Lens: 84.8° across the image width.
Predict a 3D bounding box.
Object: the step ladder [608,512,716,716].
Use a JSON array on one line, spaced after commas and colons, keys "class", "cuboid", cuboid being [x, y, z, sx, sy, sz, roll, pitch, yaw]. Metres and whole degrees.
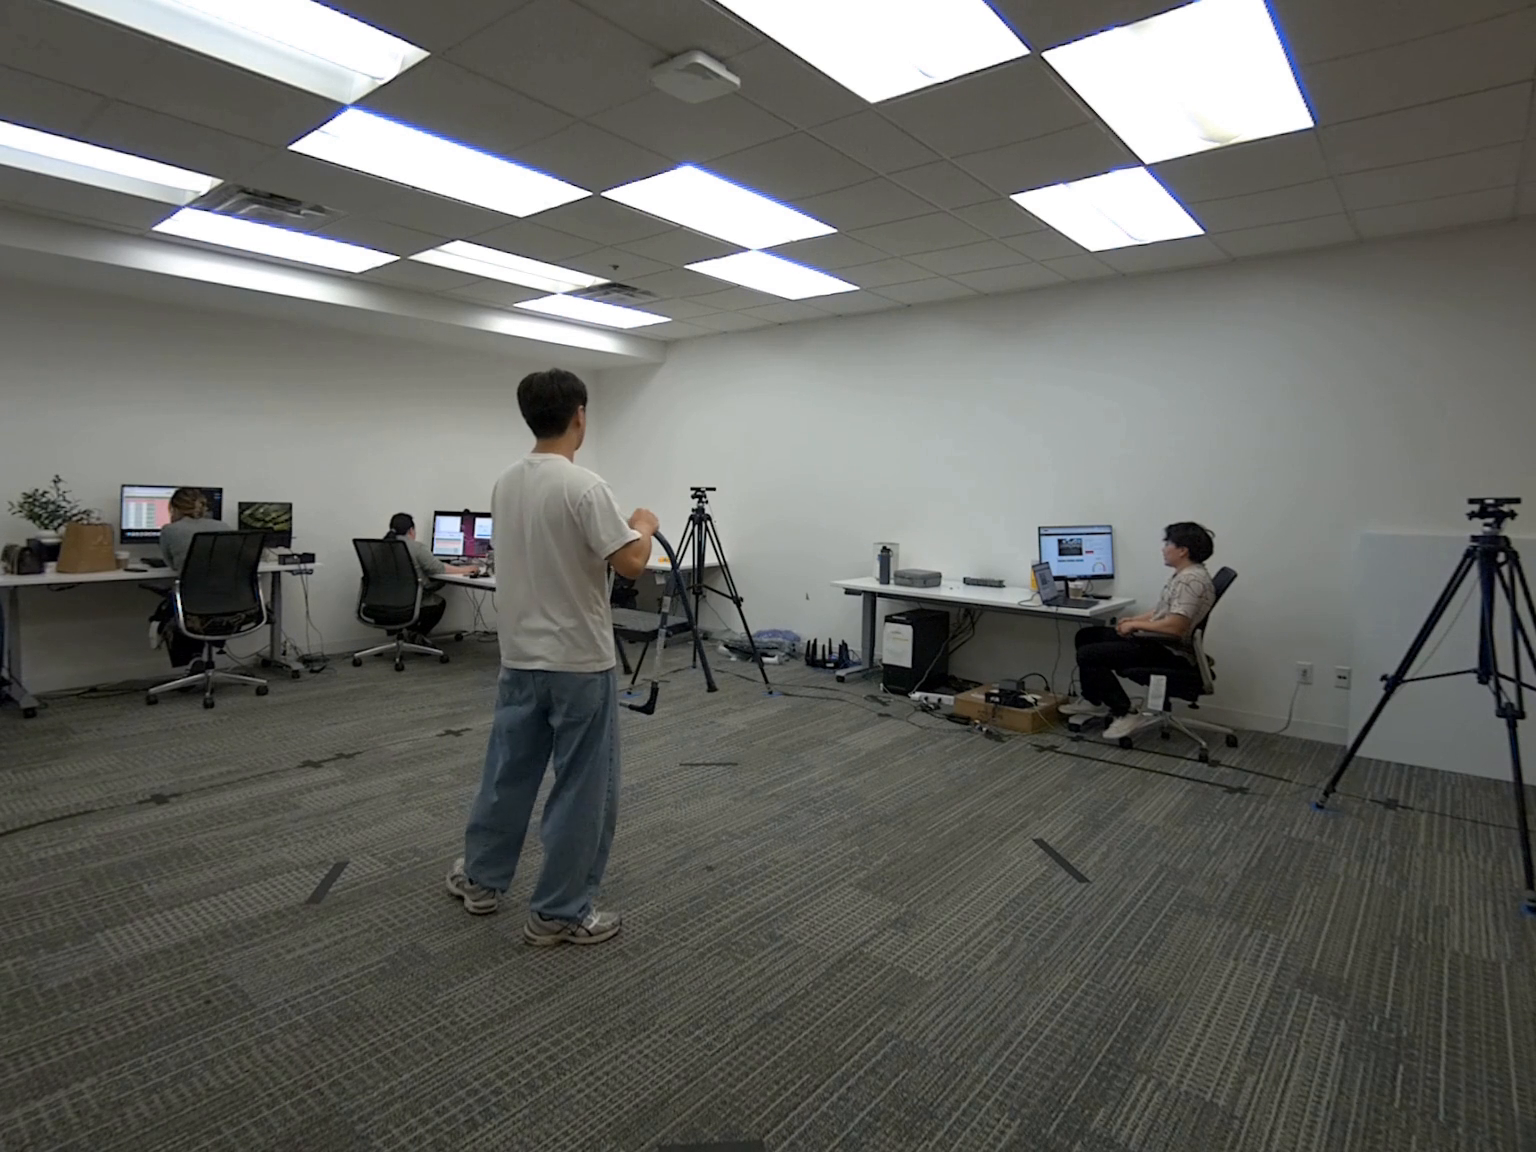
[{"class": "step ladder", "cuboid": [-0.464, 0.099, 2.888, 0.444, 0.602, 0.340, 4, 8, 35]}]
